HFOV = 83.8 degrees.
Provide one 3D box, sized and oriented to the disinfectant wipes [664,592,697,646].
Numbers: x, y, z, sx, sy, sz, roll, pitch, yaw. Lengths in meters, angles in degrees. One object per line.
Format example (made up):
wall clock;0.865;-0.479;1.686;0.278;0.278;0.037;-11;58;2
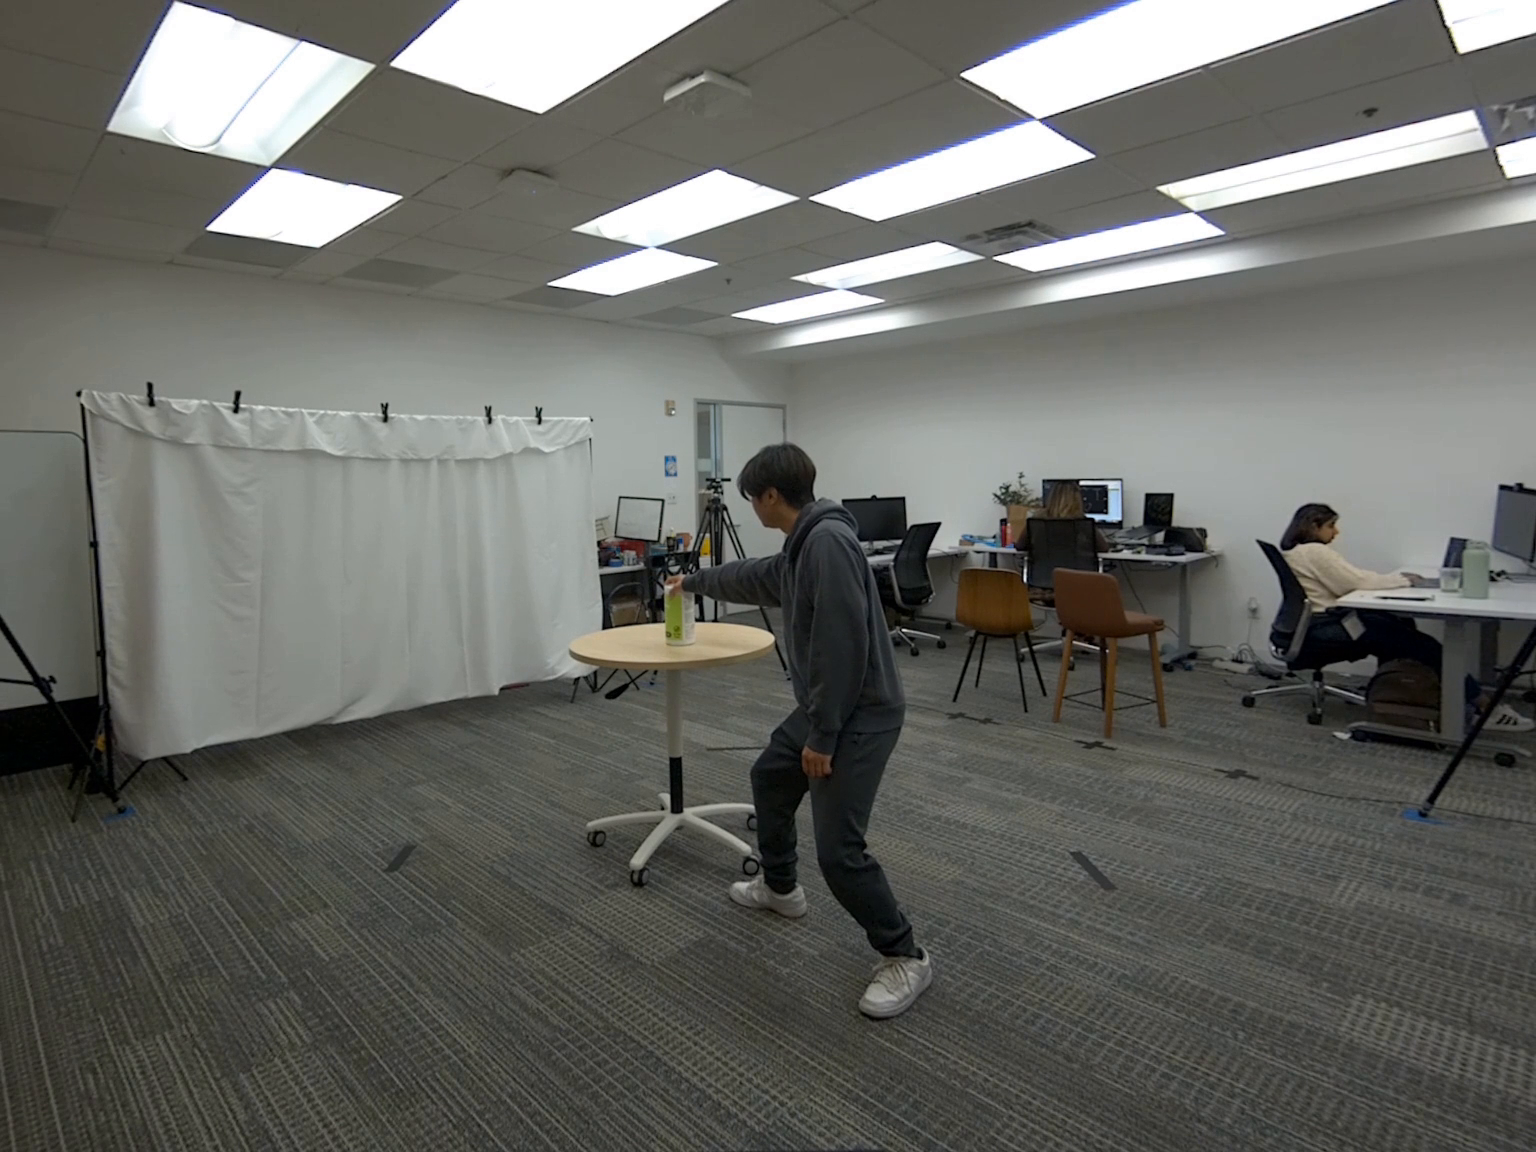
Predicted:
disinfectant wipes;-0.318;0.141;3.125;0.118;0.216;0.118;0;6;-2
